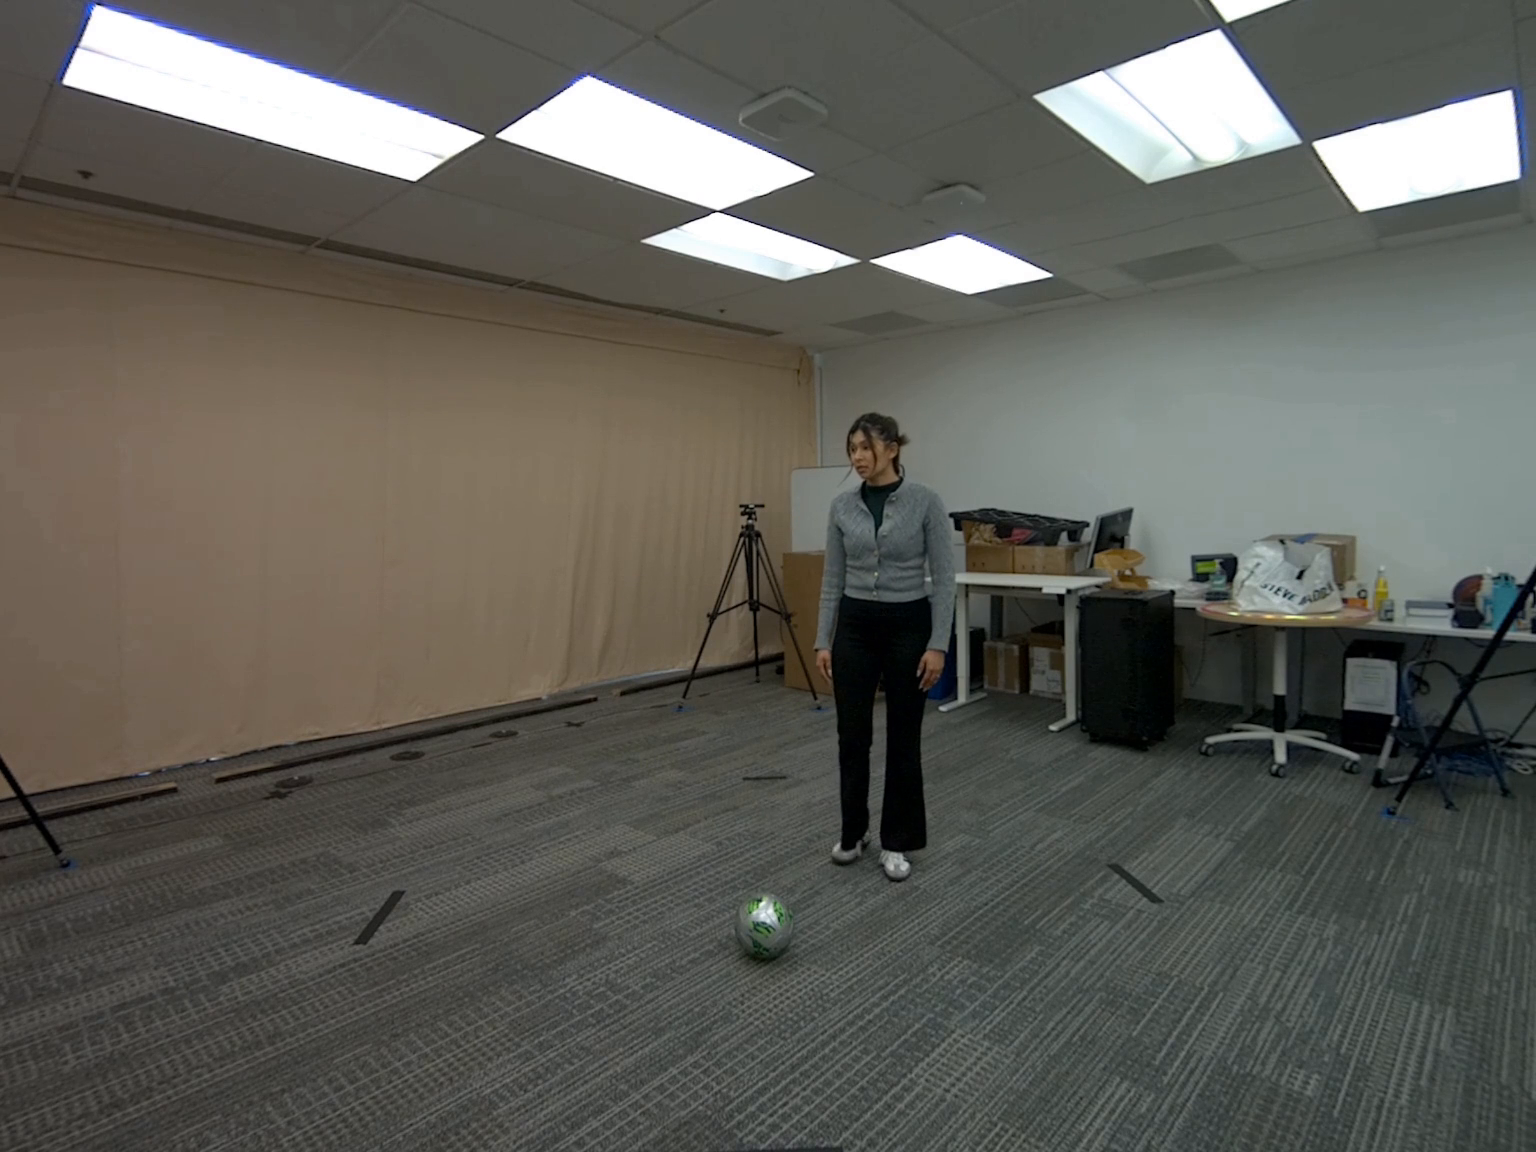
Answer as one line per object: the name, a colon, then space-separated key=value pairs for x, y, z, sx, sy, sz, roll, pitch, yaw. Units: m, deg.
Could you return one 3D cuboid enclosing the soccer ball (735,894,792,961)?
soccer ball: x=-0.008 y=1.079 z=2.601 sx=0.187 sy=0.187 sz=0.188 roll=-1 pitch=4 yaw=-2
